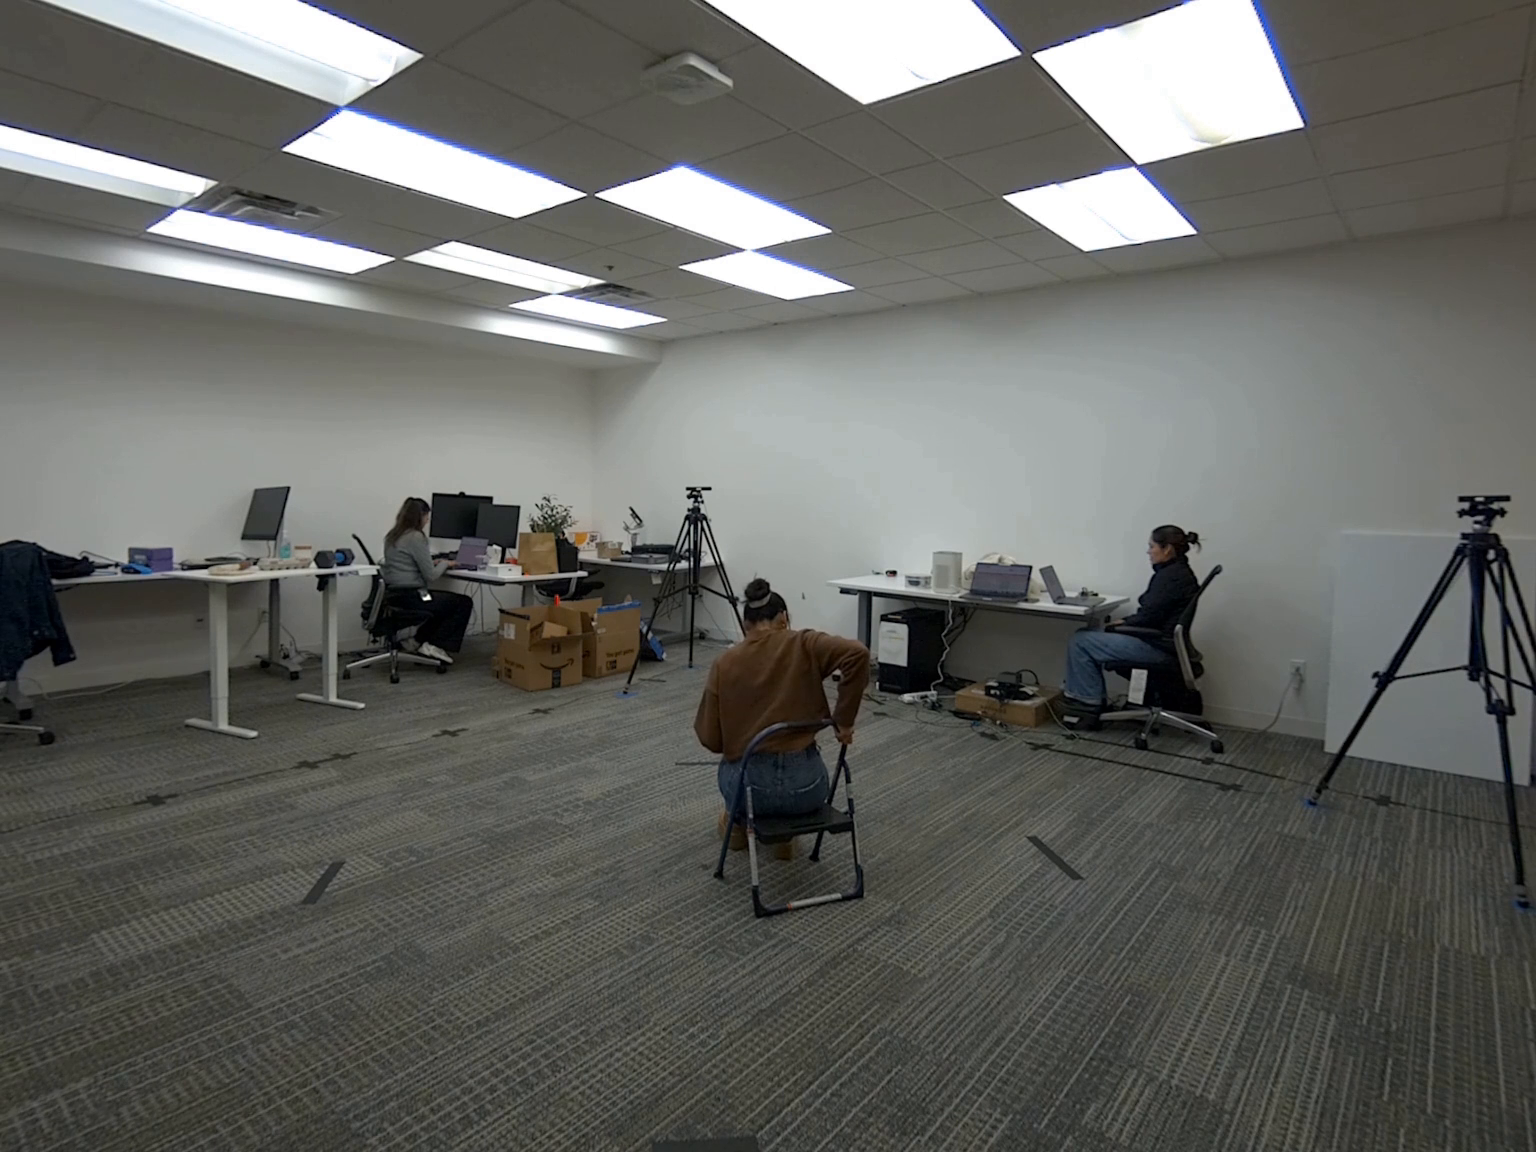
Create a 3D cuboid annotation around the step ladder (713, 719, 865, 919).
[{"bbox_3d":[0.068,0.785,2.969,0.420,0.605,0.359,0,3,-26],"label":"step ladder"}]
